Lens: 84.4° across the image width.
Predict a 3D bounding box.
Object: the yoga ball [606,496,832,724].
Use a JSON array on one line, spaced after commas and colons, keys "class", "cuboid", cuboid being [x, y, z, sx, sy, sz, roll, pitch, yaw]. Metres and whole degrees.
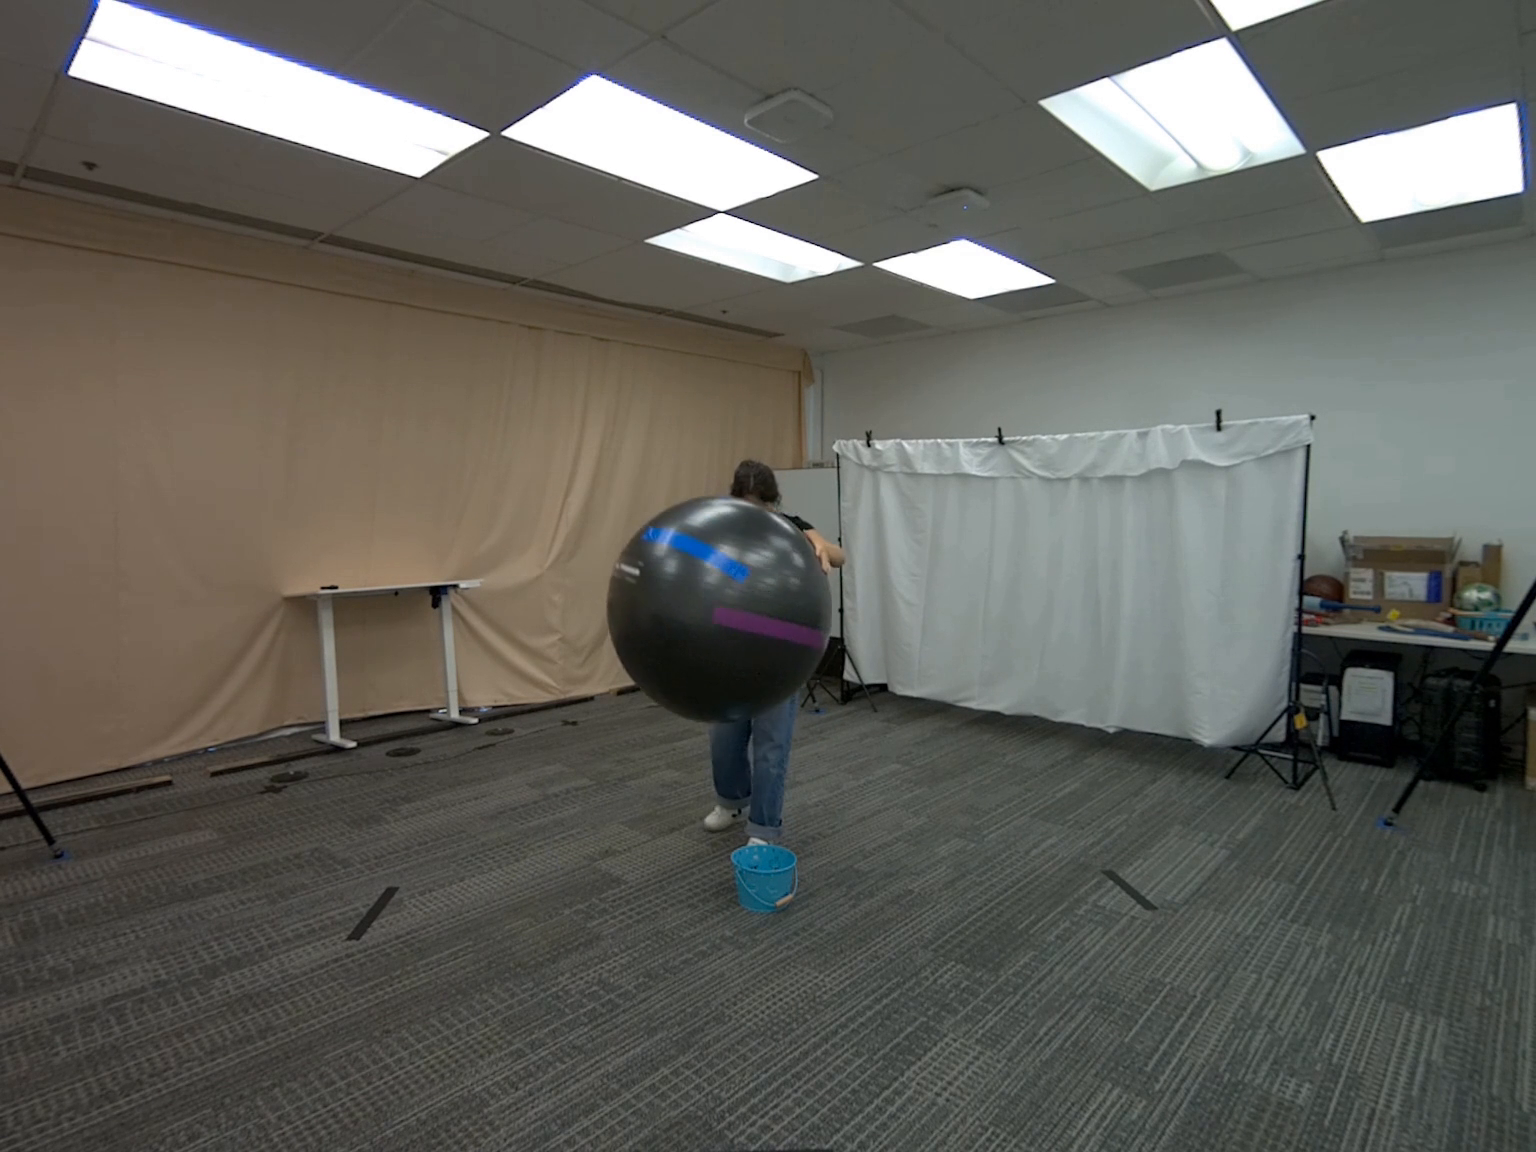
[{"class": "yoga ball", "cuboid": [-0.173, 0.109, 2.863, 0.757, 0.756, 0.760, 0, 4, -2]}]
